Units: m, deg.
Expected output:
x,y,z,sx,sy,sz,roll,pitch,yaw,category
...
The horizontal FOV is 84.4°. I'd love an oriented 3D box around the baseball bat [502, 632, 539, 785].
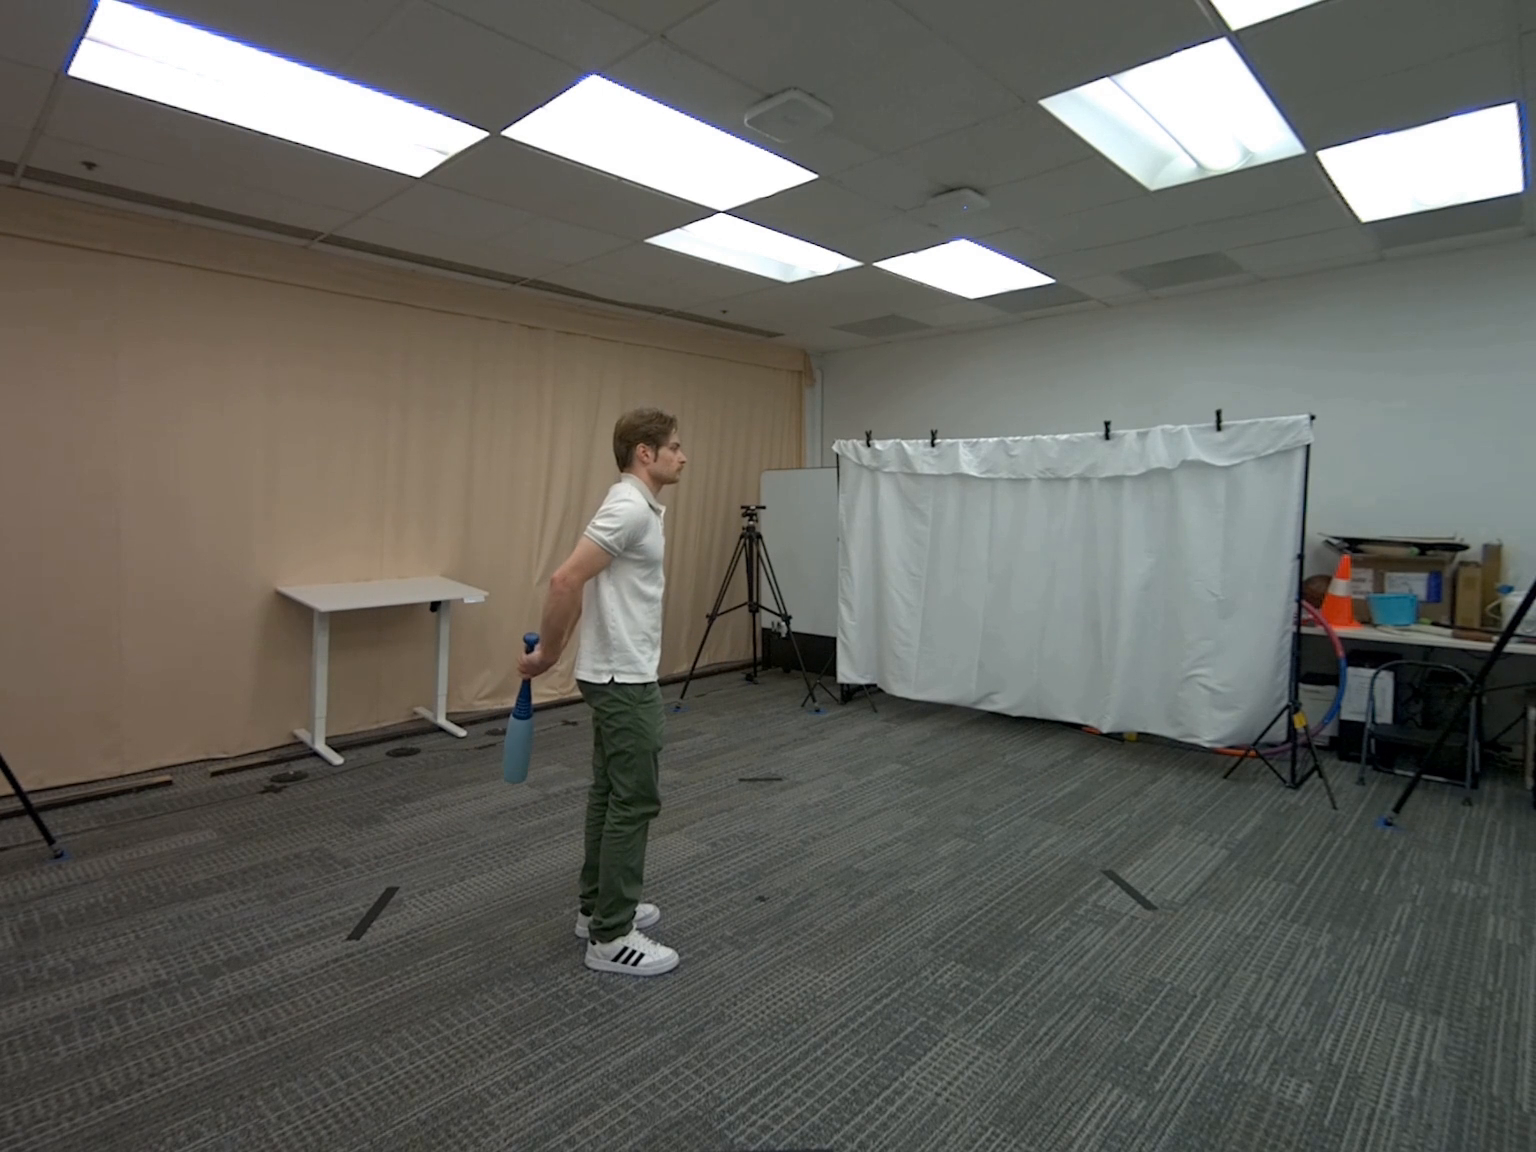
x,y,z,sx,sy,sz,roll,pitch,yaw,category
-0.777,0.427,2.681,0.088,0.540,0.090,12,14,-5,baseball bat
